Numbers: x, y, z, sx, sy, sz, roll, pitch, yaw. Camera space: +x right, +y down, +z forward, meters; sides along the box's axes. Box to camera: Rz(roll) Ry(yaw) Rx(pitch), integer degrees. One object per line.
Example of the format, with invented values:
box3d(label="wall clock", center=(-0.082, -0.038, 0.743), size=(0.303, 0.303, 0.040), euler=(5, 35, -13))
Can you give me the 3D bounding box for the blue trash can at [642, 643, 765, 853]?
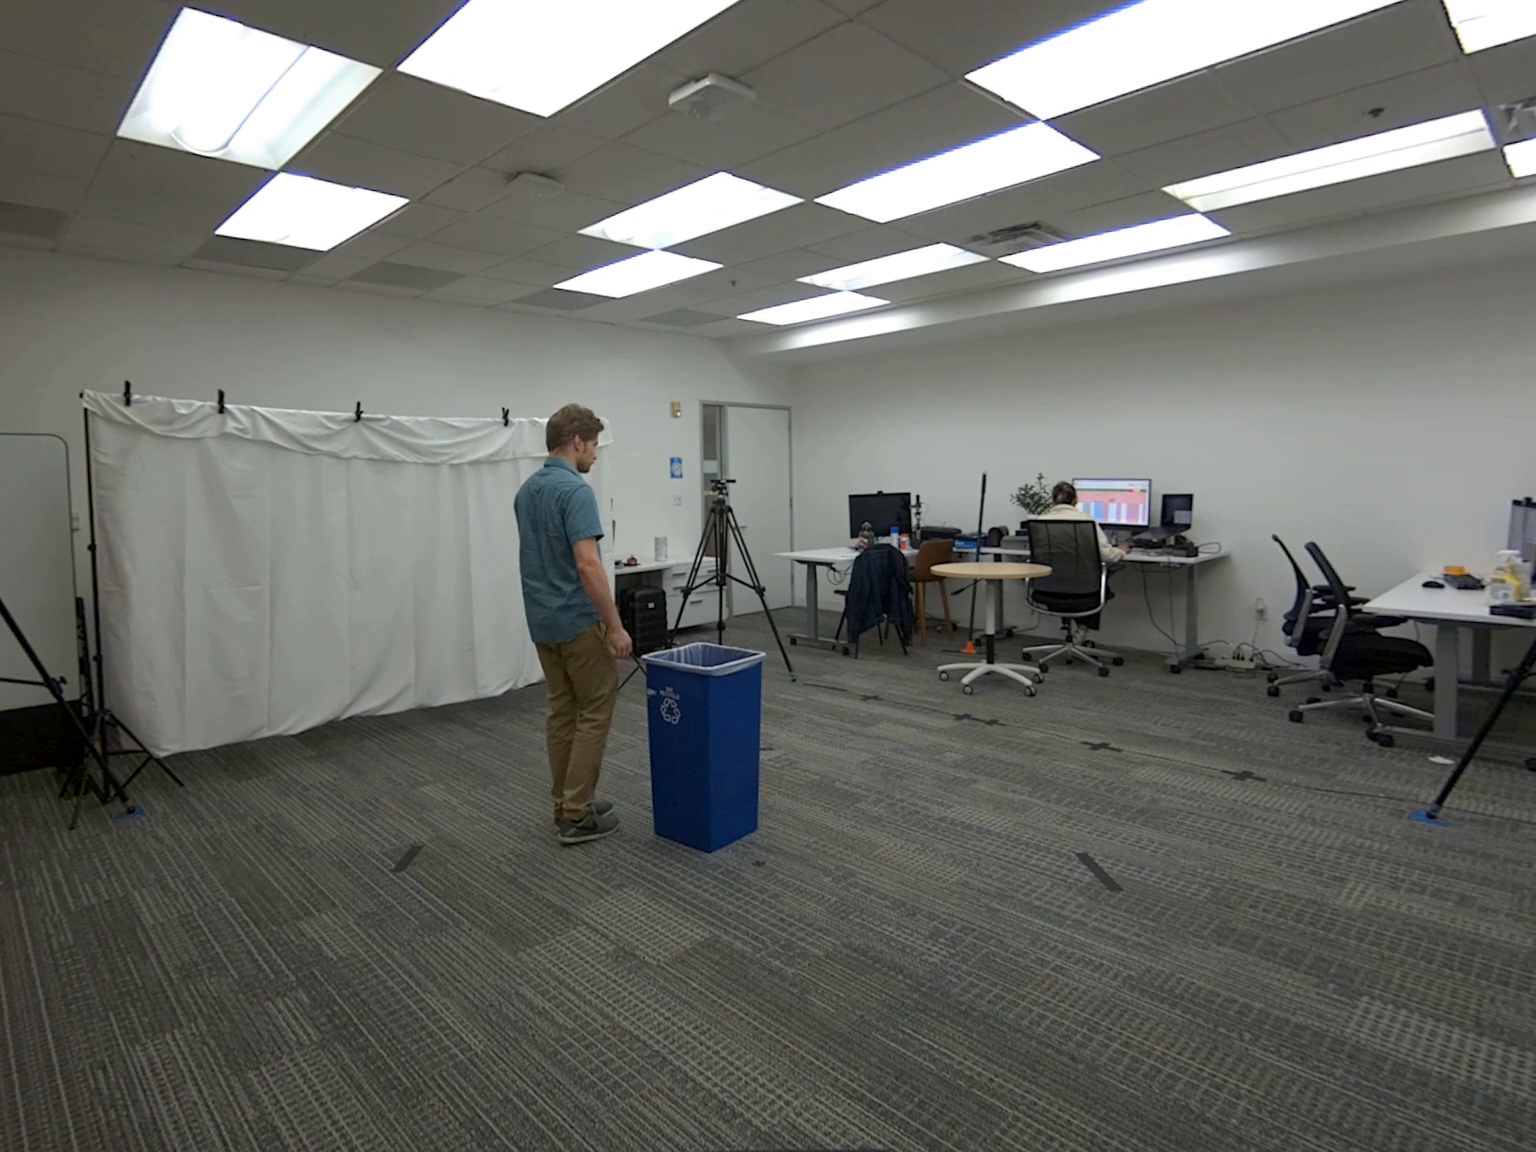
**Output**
box3d(label="blue trash can", center=(-0.240, 0.661, 3.375), size=(0.385, 0.711, 0.368), euler=(2, 5, 39))
